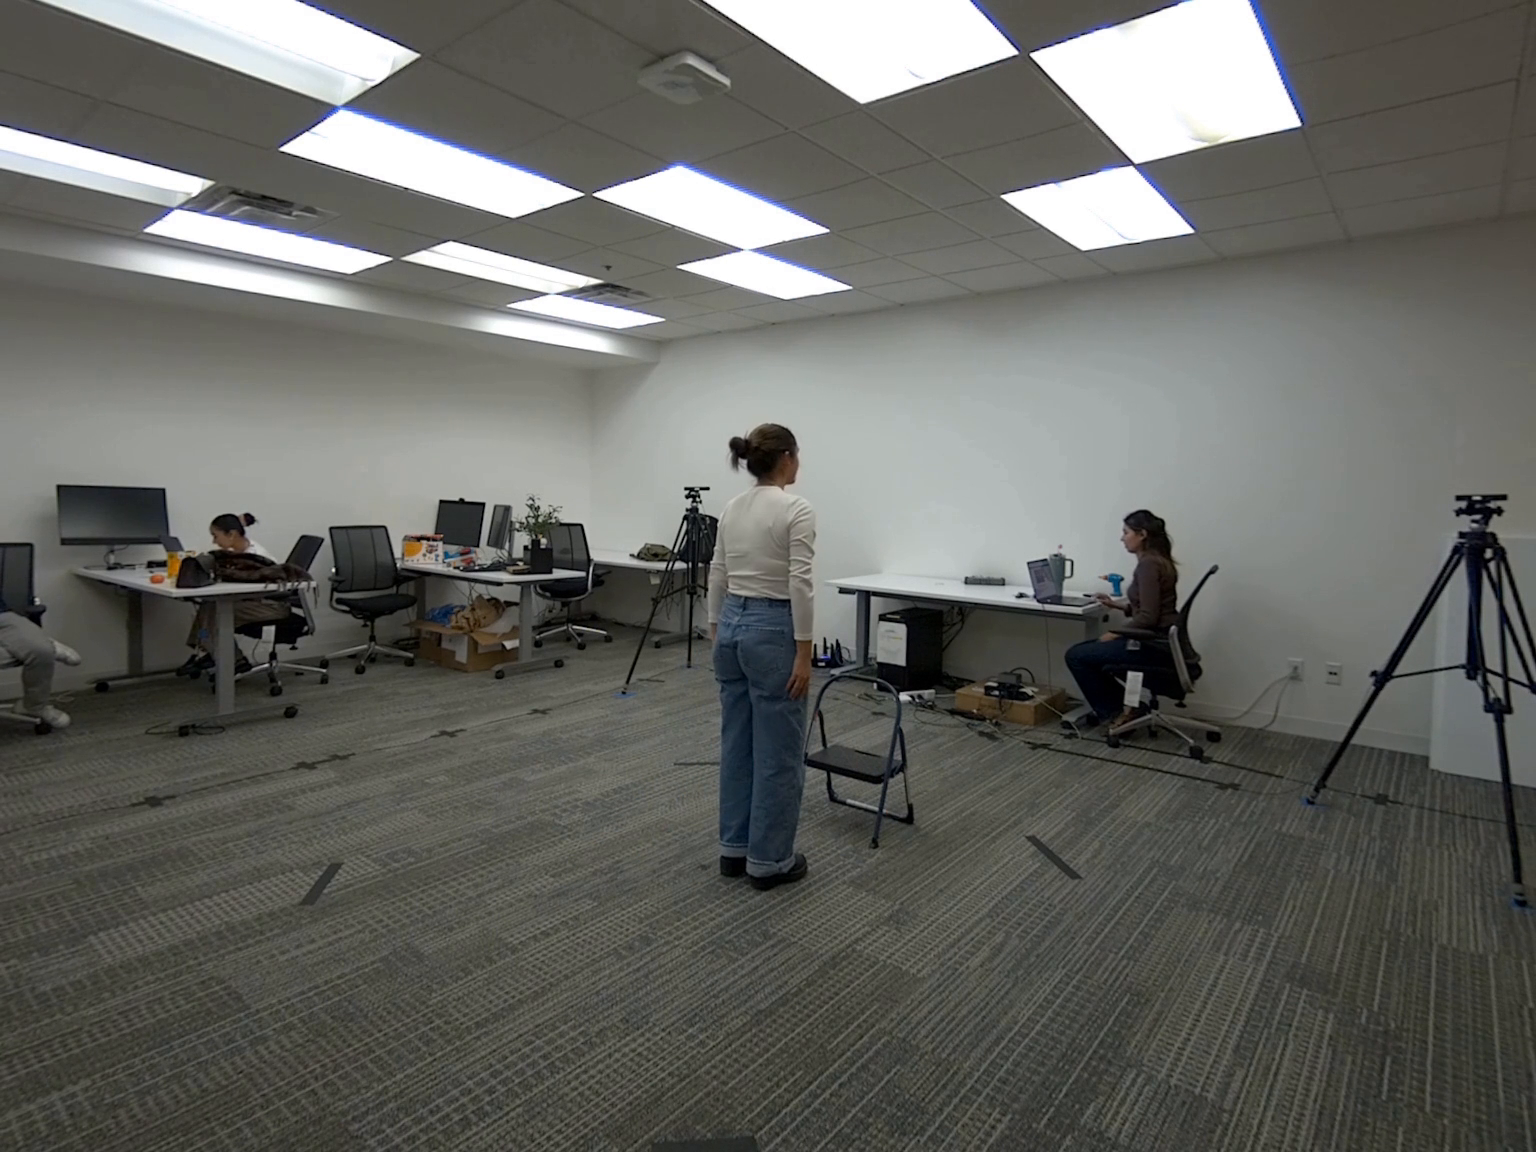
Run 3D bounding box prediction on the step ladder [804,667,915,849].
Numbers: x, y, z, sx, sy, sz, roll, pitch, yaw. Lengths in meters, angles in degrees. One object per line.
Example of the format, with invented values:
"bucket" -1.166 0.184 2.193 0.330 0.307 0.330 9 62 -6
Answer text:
"step ladder" 0.350 0.727 3.559 0.445 0.604 0.339 4 5 37
